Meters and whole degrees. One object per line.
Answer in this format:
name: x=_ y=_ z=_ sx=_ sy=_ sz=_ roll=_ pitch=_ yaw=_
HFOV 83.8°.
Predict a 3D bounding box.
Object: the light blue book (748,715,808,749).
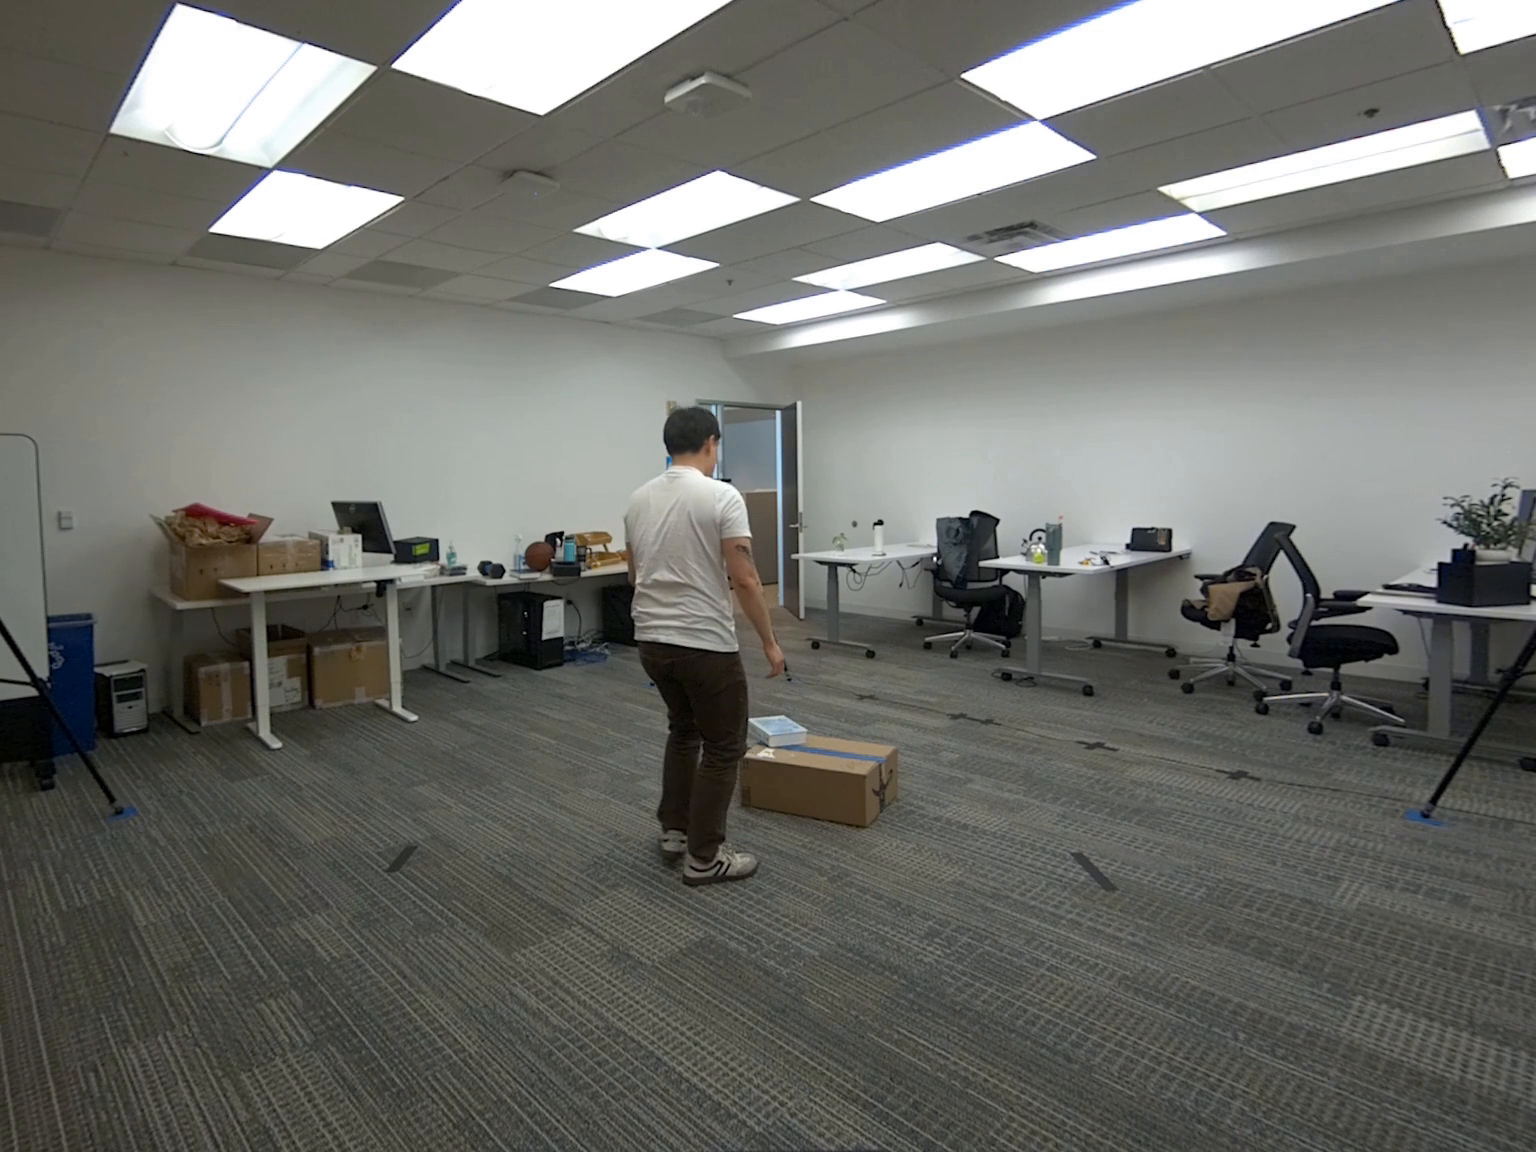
light blue book: x=0.041 y=0.706 z=3.904 sx=0.187 sy=0.059 sz=0.267 roll=-2 pitch=6 yaw=-23
